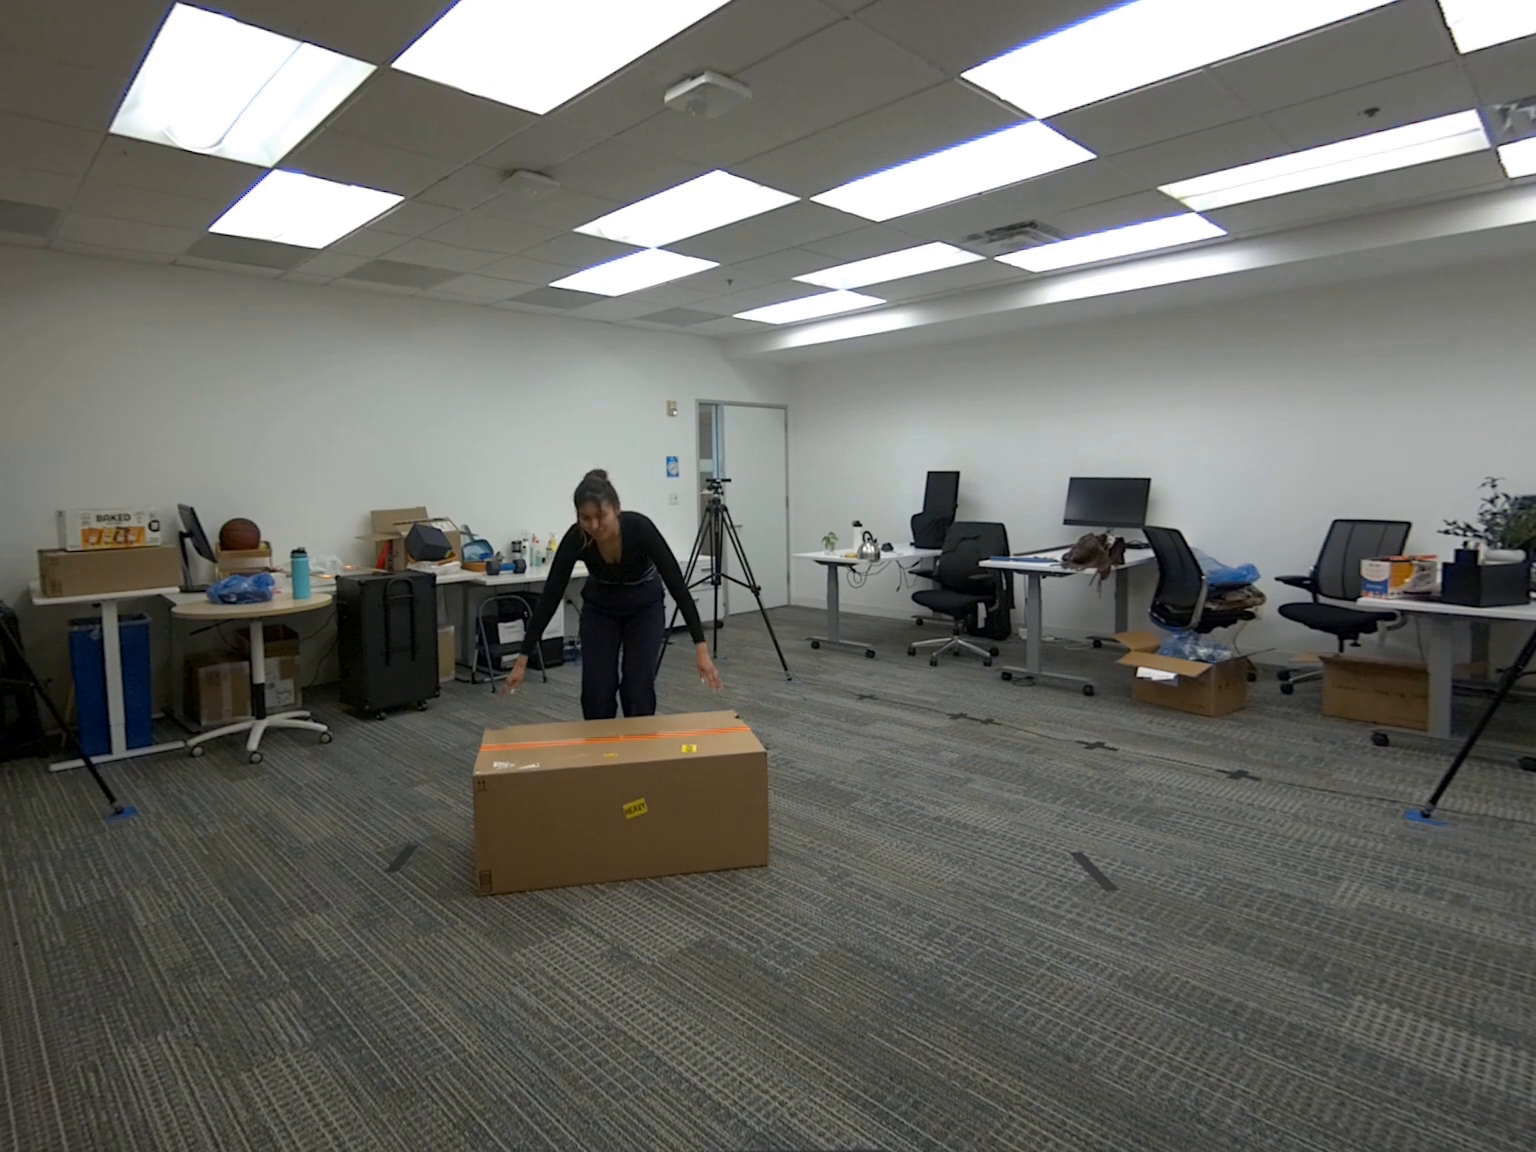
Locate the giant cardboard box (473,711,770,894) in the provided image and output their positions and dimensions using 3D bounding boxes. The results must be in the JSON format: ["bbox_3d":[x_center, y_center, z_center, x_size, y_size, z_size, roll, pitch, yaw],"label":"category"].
[{"bbox_3d":[-0.563,0.821,3.251,1.015,0.424,0.586,-2,6,-12],"label":"giant cardboard box"}]
